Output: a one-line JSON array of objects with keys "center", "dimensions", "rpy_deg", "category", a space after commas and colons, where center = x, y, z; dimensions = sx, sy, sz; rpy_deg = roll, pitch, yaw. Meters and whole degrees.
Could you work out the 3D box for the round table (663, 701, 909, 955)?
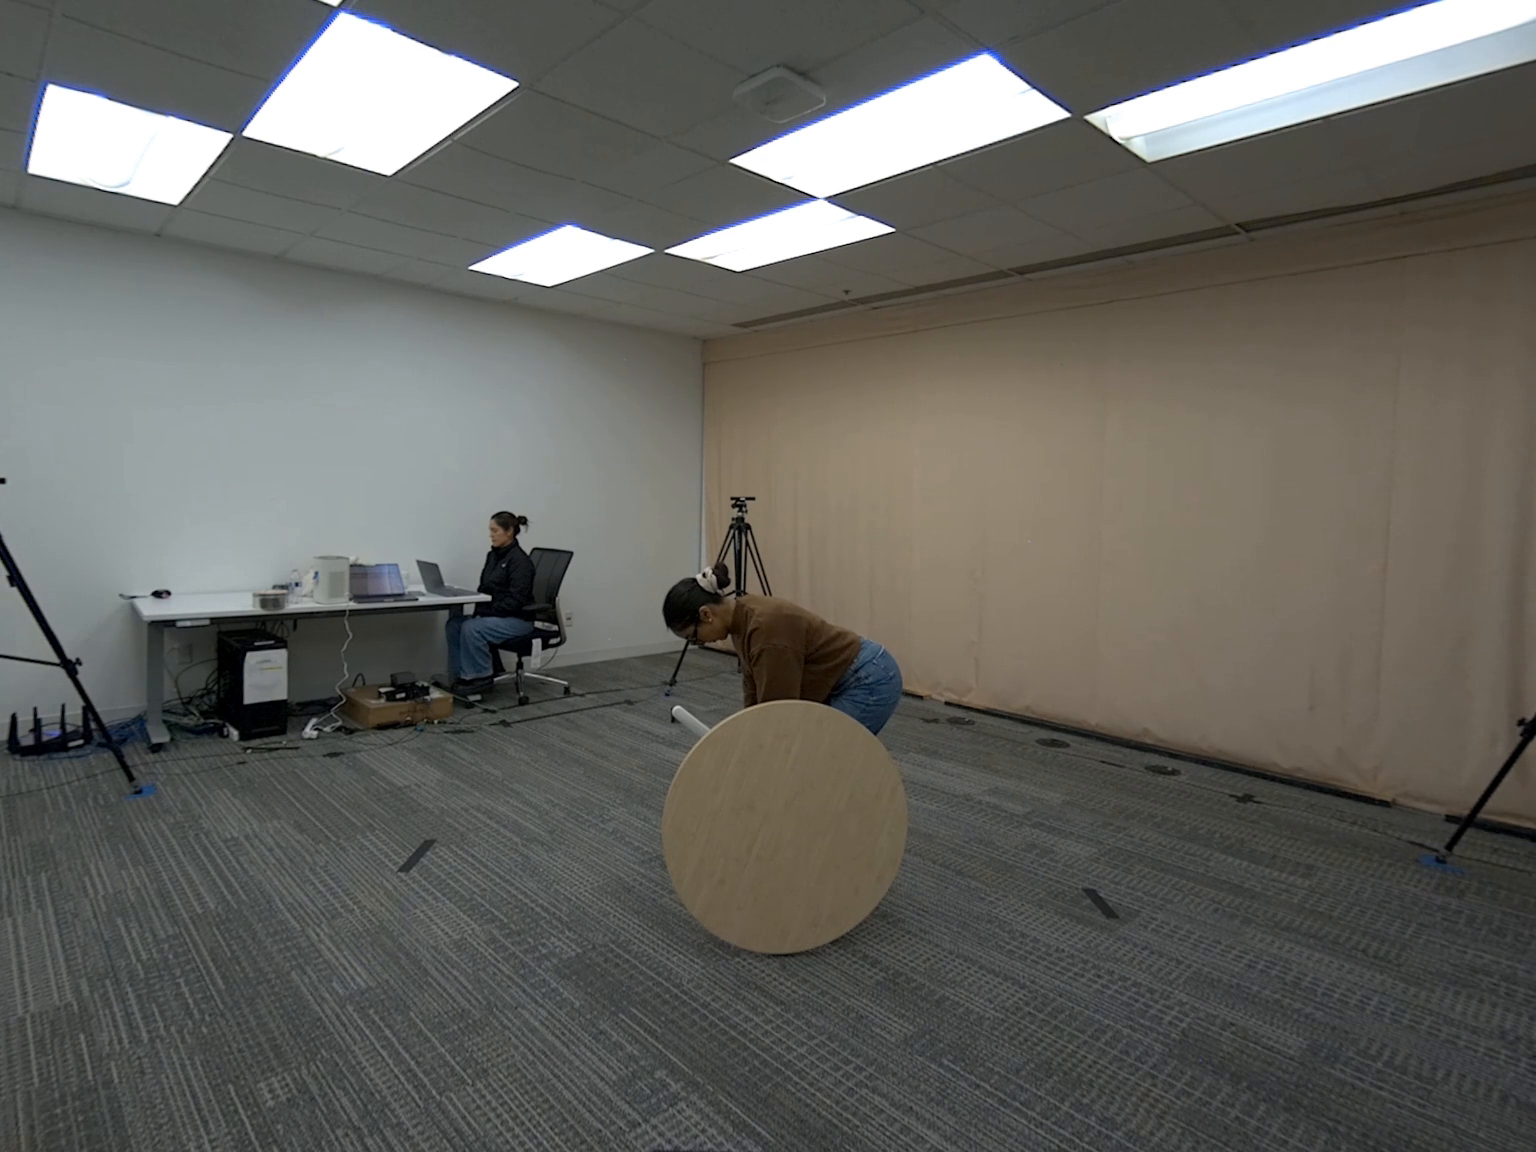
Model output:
[{"center": [-0.026, 0.751, 2.947], "dimensions": [0.757, 0.764, 0.801], "rpy_deg": [1, 0, -11], "category": "round table"}]
